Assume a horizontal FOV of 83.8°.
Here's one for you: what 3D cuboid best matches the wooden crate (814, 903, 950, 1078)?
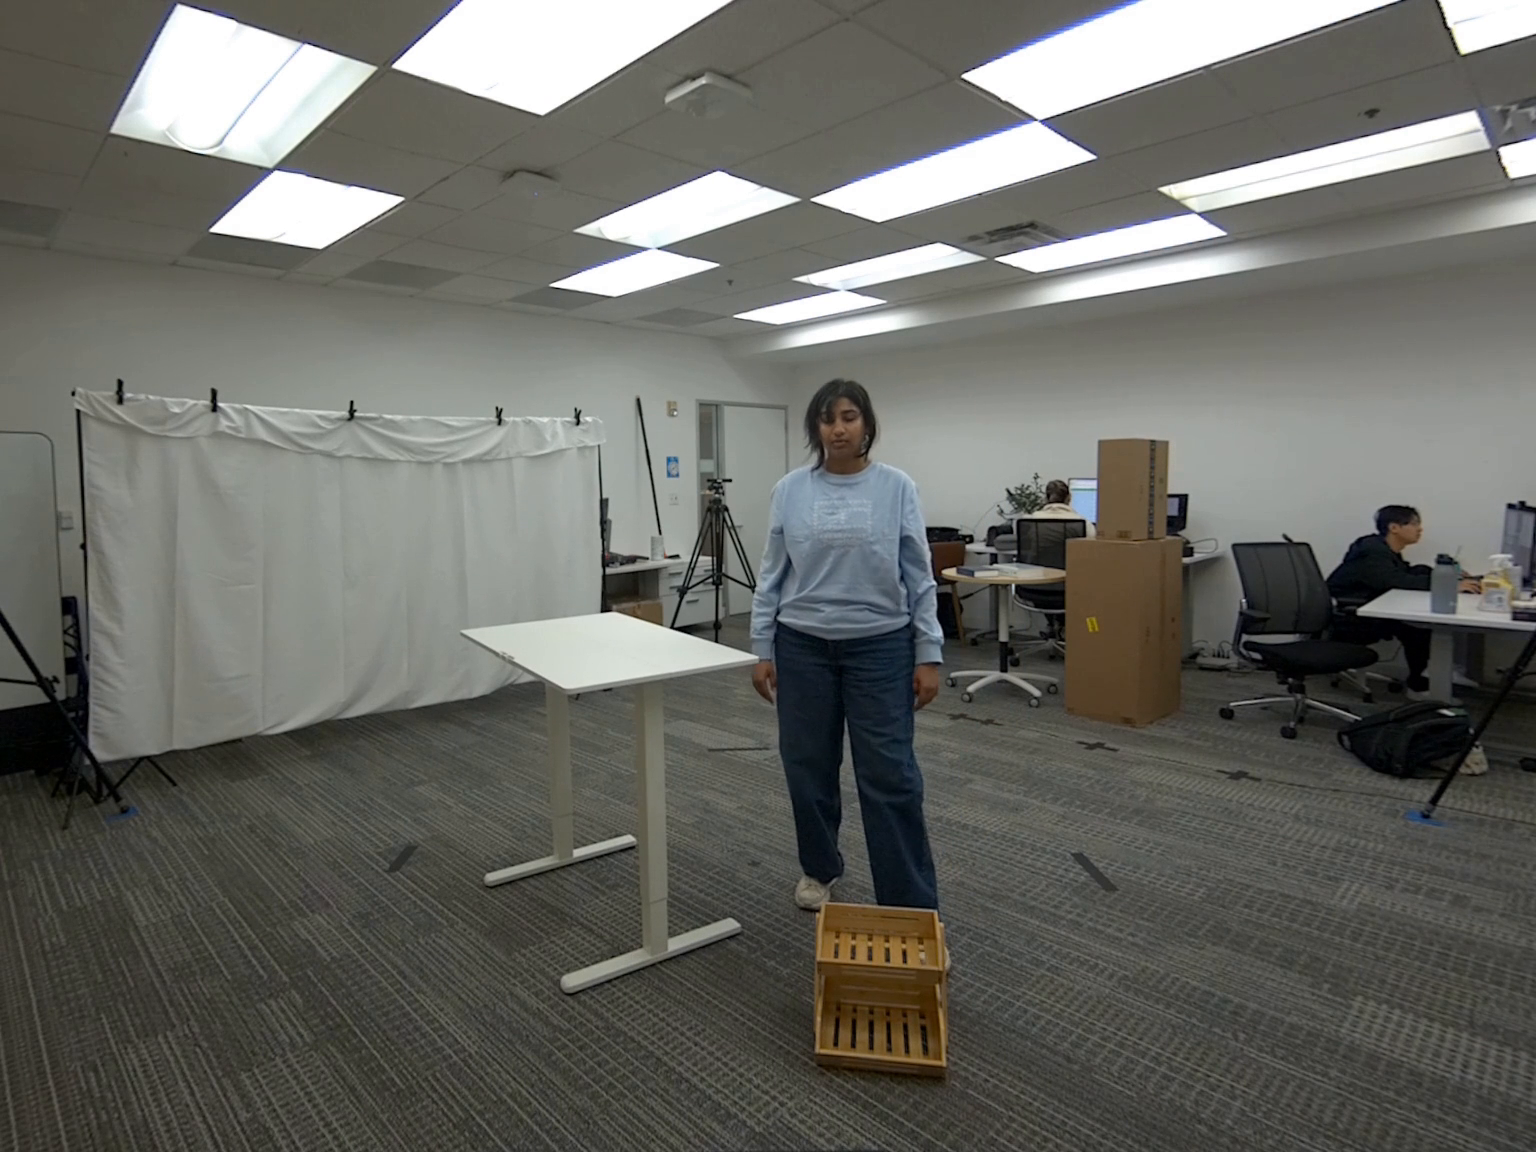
[{"bbox_3d":[0.285,1.026,2.122,0.327,0.272,0.300,0,5,8],"label":"wooden crate"}]
